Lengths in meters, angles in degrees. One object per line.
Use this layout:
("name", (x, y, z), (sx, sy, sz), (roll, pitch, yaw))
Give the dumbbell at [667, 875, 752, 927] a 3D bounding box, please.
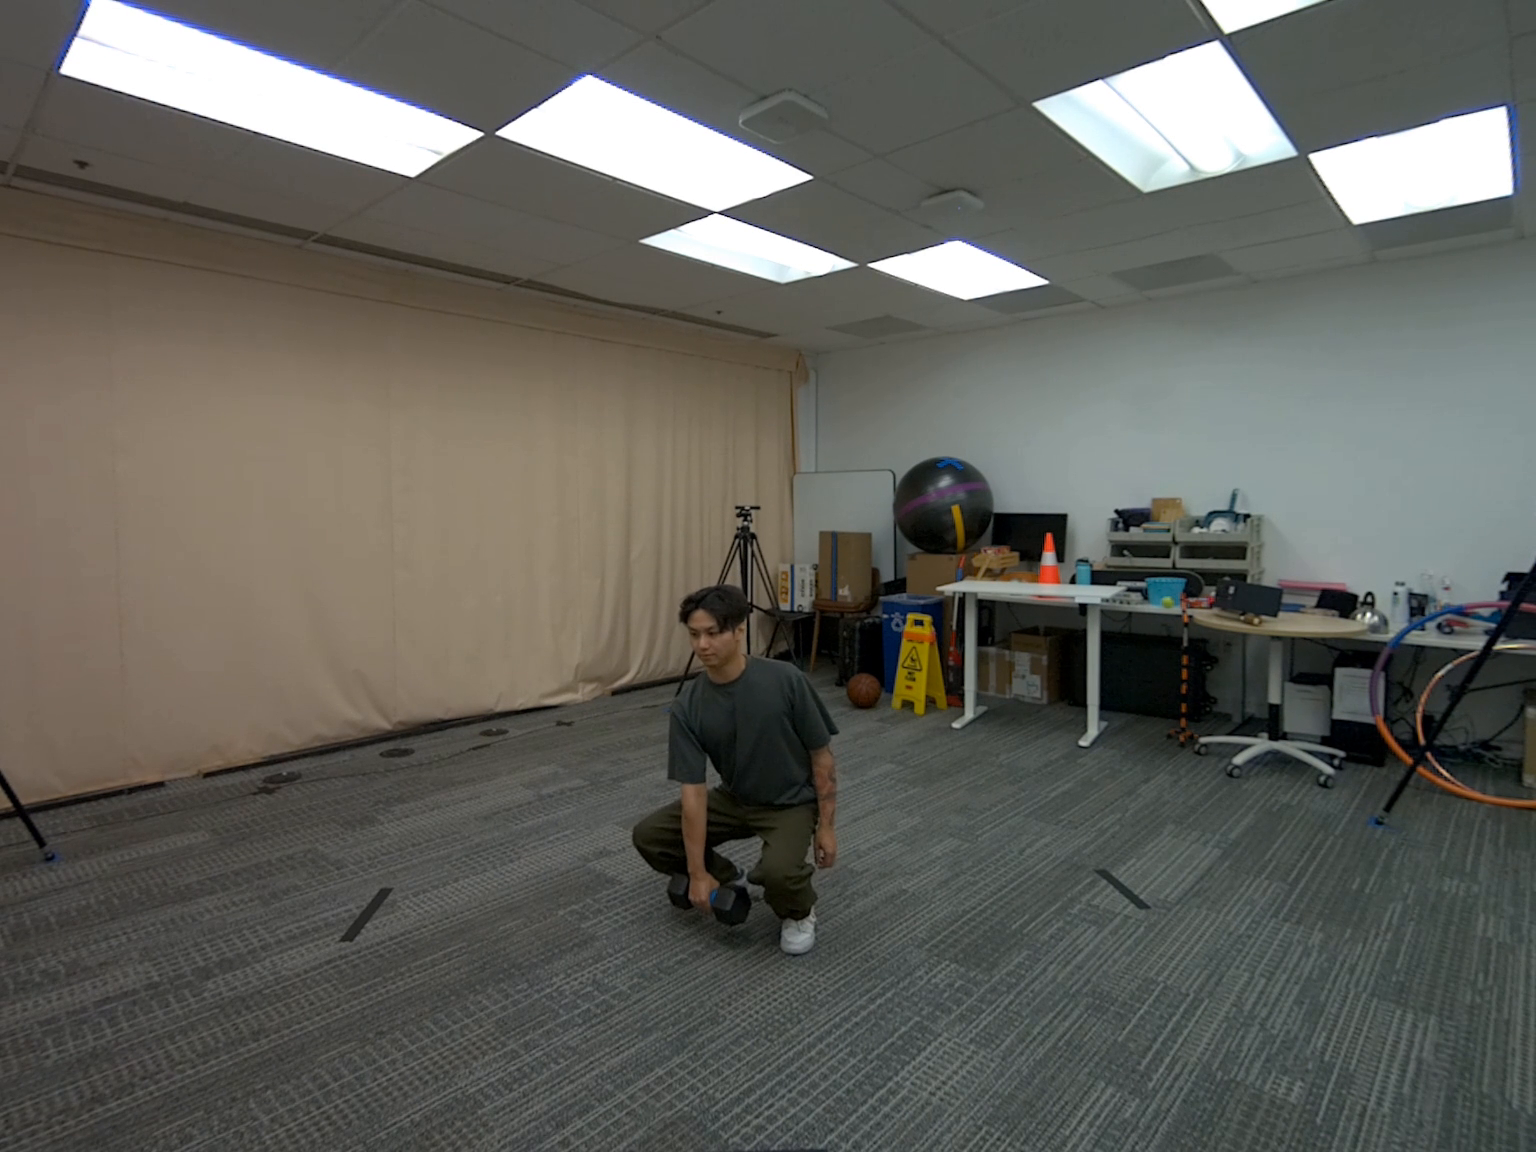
("dumbbell", (-0.188, 1.035, 2.728), (0.303, 0.121, 0.107), (-3, 22, 43))
